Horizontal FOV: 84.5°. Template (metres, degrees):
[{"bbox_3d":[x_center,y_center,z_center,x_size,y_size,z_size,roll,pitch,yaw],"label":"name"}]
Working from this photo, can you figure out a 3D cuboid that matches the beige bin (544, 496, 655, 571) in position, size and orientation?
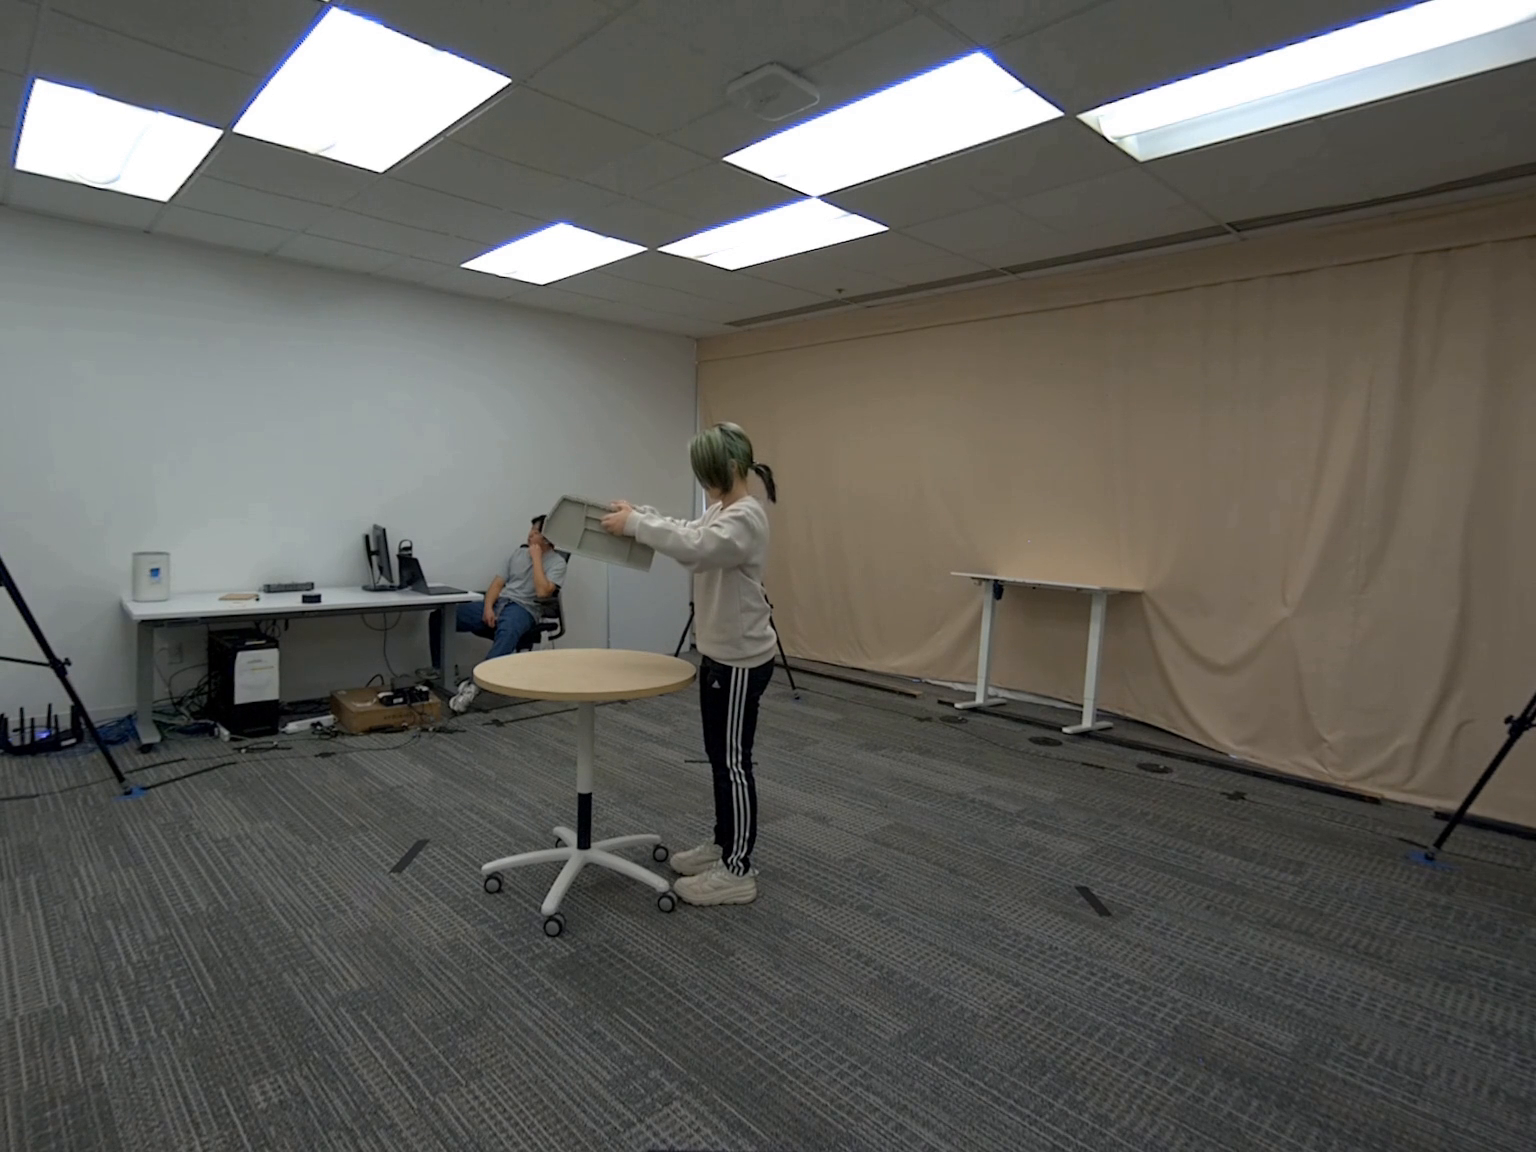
[{"bbox_3d":[-0.584,-0.149,2.915,0.374,0.188,0.427,14,6,-10],"label":"beige bin"}]
